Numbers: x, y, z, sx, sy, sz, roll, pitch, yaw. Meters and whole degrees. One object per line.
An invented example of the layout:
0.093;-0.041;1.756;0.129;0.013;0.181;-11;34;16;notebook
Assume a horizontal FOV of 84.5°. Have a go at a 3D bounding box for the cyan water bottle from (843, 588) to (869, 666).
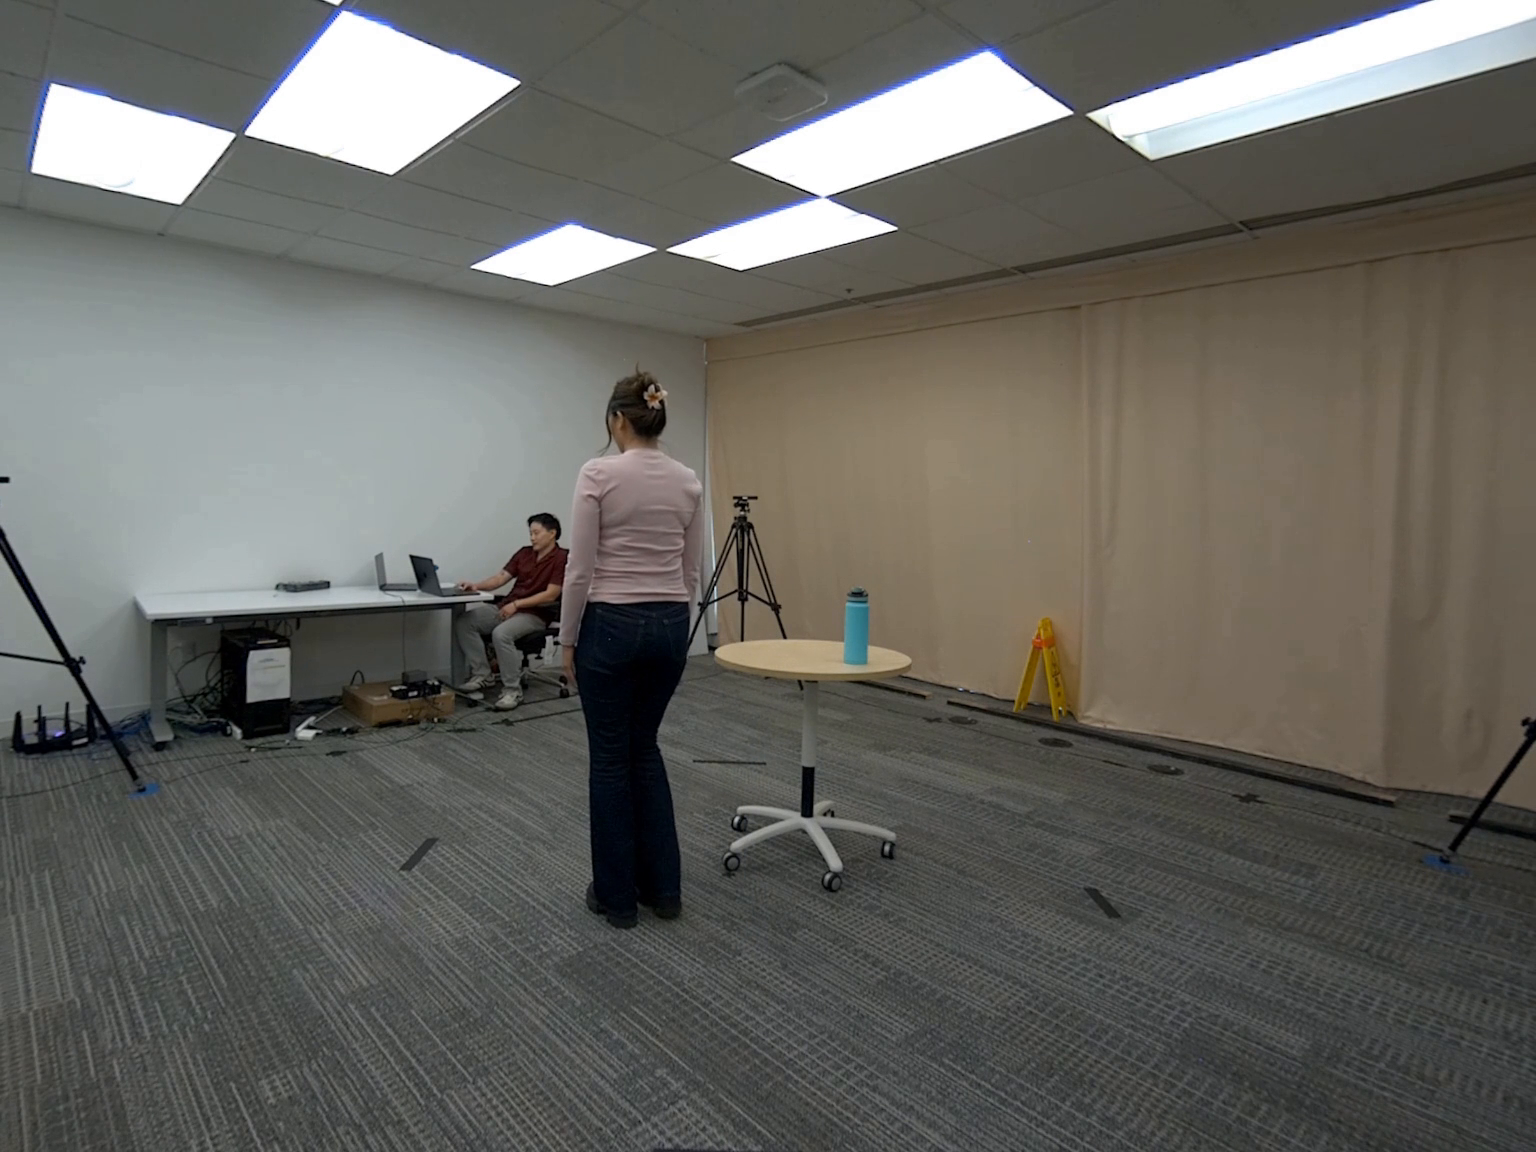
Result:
0.328;0.185;3.151;0.092;0.283;0.092;2;2;-1;cyan water bottle
